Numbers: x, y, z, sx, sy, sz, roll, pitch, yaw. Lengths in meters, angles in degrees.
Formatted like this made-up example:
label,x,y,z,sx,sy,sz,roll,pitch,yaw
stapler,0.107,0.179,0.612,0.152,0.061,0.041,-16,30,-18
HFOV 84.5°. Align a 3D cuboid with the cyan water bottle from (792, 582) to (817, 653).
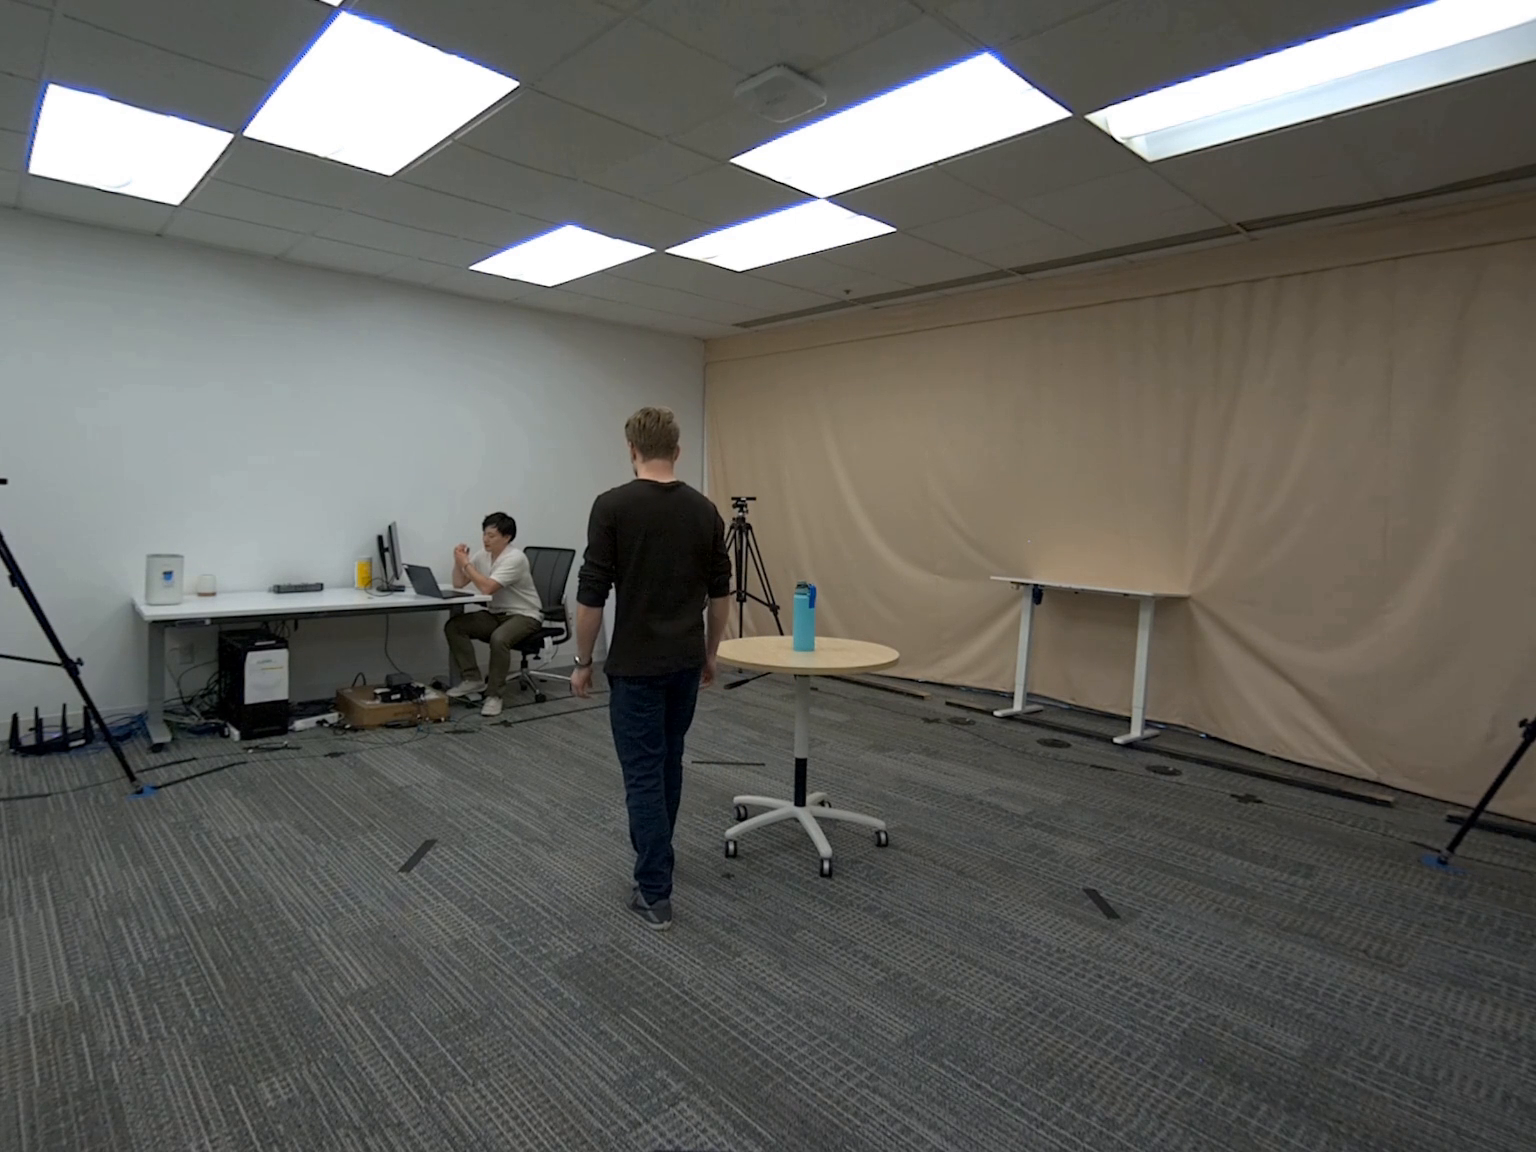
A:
label,x,y,z,sx,sy,sz,roll,pitch,yaw
cyan water bottle,0.144,0.164,3.444,0.092,0.283,0.092,2,2,-1
